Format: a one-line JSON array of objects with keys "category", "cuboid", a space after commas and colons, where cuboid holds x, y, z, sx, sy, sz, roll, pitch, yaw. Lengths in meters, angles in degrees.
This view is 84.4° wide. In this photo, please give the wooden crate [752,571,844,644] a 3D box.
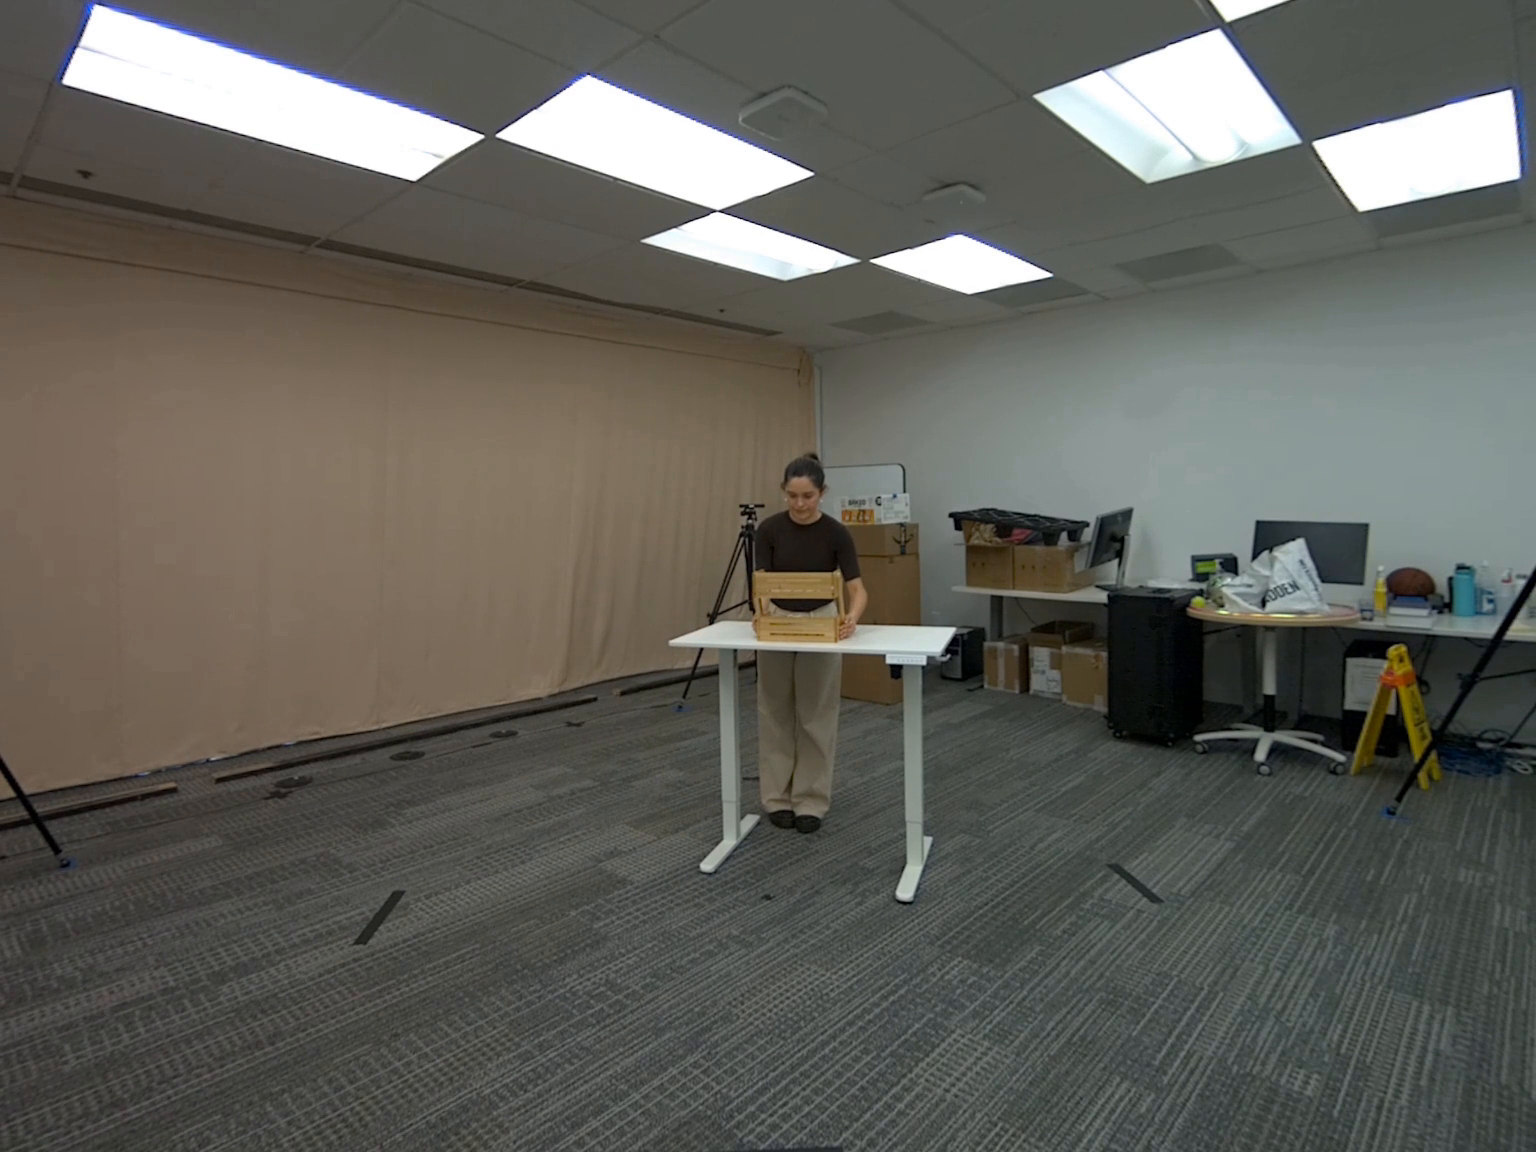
[{"category": "wooden crate", "cuboid": [0.127, 0.108, 3.202, 0.330, 0.273, 0.297, 0, 2, 16]}]
